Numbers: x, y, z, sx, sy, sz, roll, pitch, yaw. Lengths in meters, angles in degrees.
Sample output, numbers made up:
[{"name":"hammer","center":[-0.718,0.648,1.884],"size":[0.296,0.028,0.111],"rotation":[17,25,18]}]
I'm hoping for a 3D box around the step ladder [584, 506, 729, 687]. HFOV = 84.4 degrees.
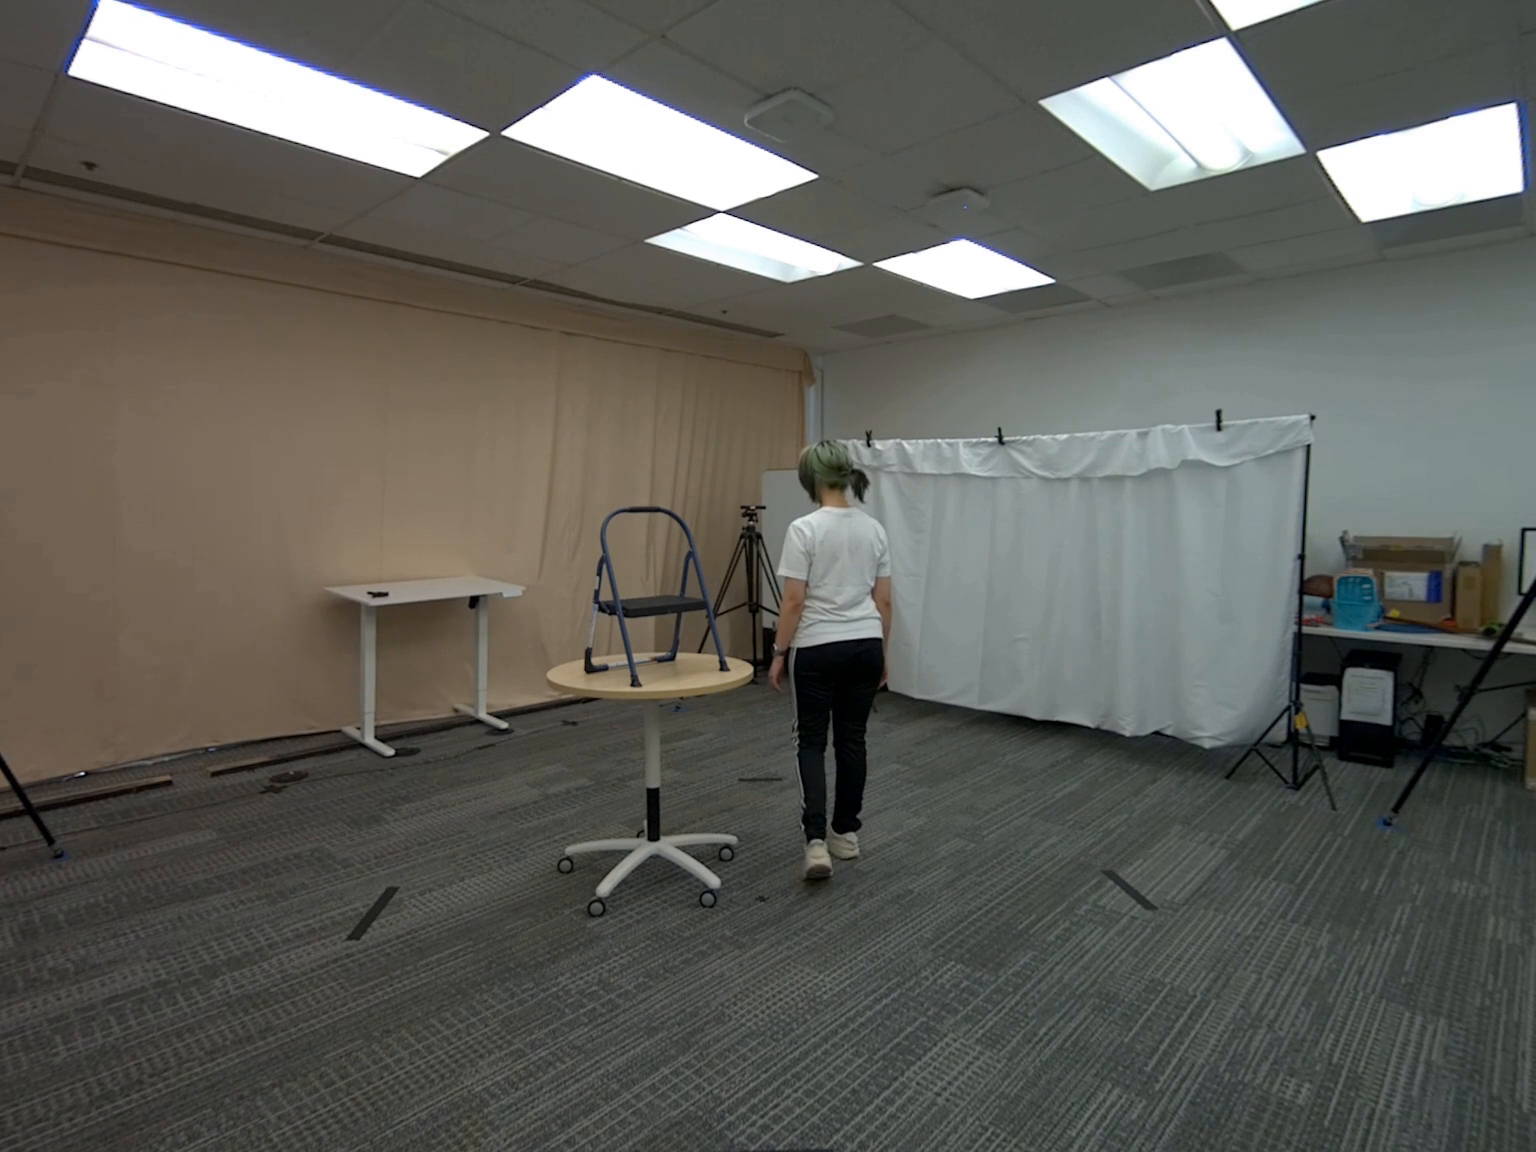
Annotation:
[{"name":"step ladder","center":[-0.409,0.053,3.074],"size":[0.417,0.605,0.361],"rotation":[-3,4,-42]}]
